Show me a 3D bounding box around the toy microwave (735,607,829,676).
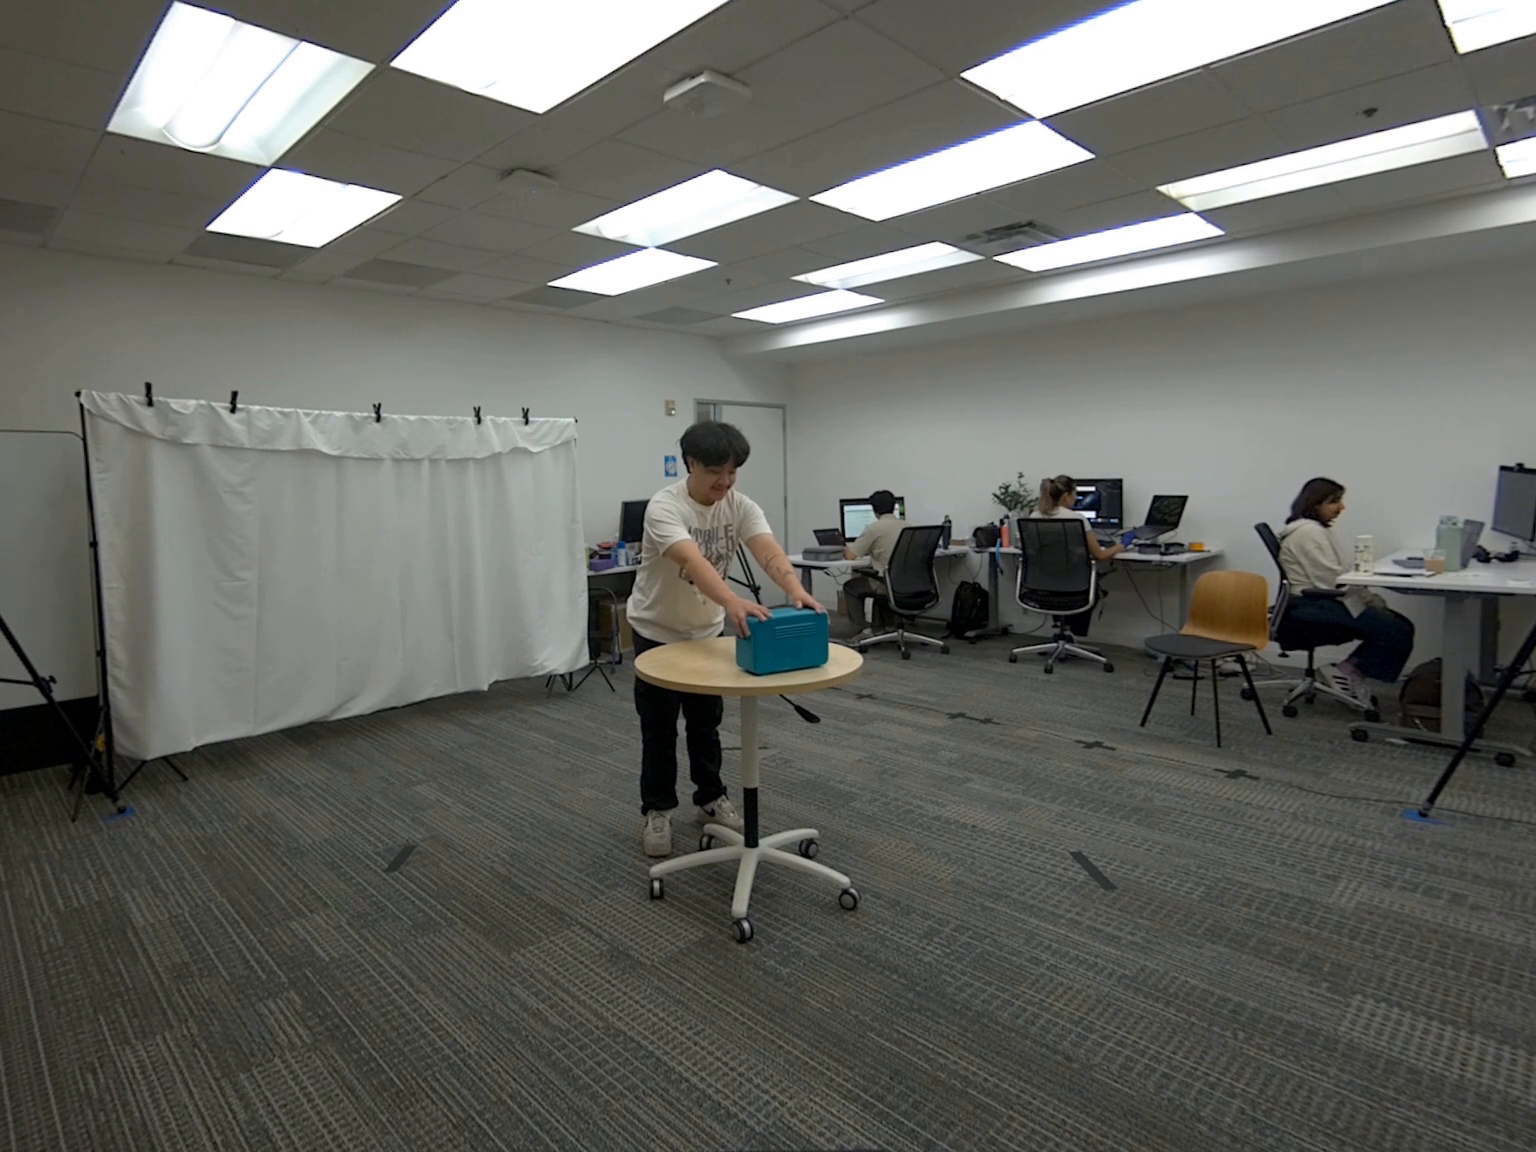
[{"bbox_3d":[0.043,0.202,2.731,0.280,0.183,0.156,-5,6,-28],"label":"toy microwave"}]
